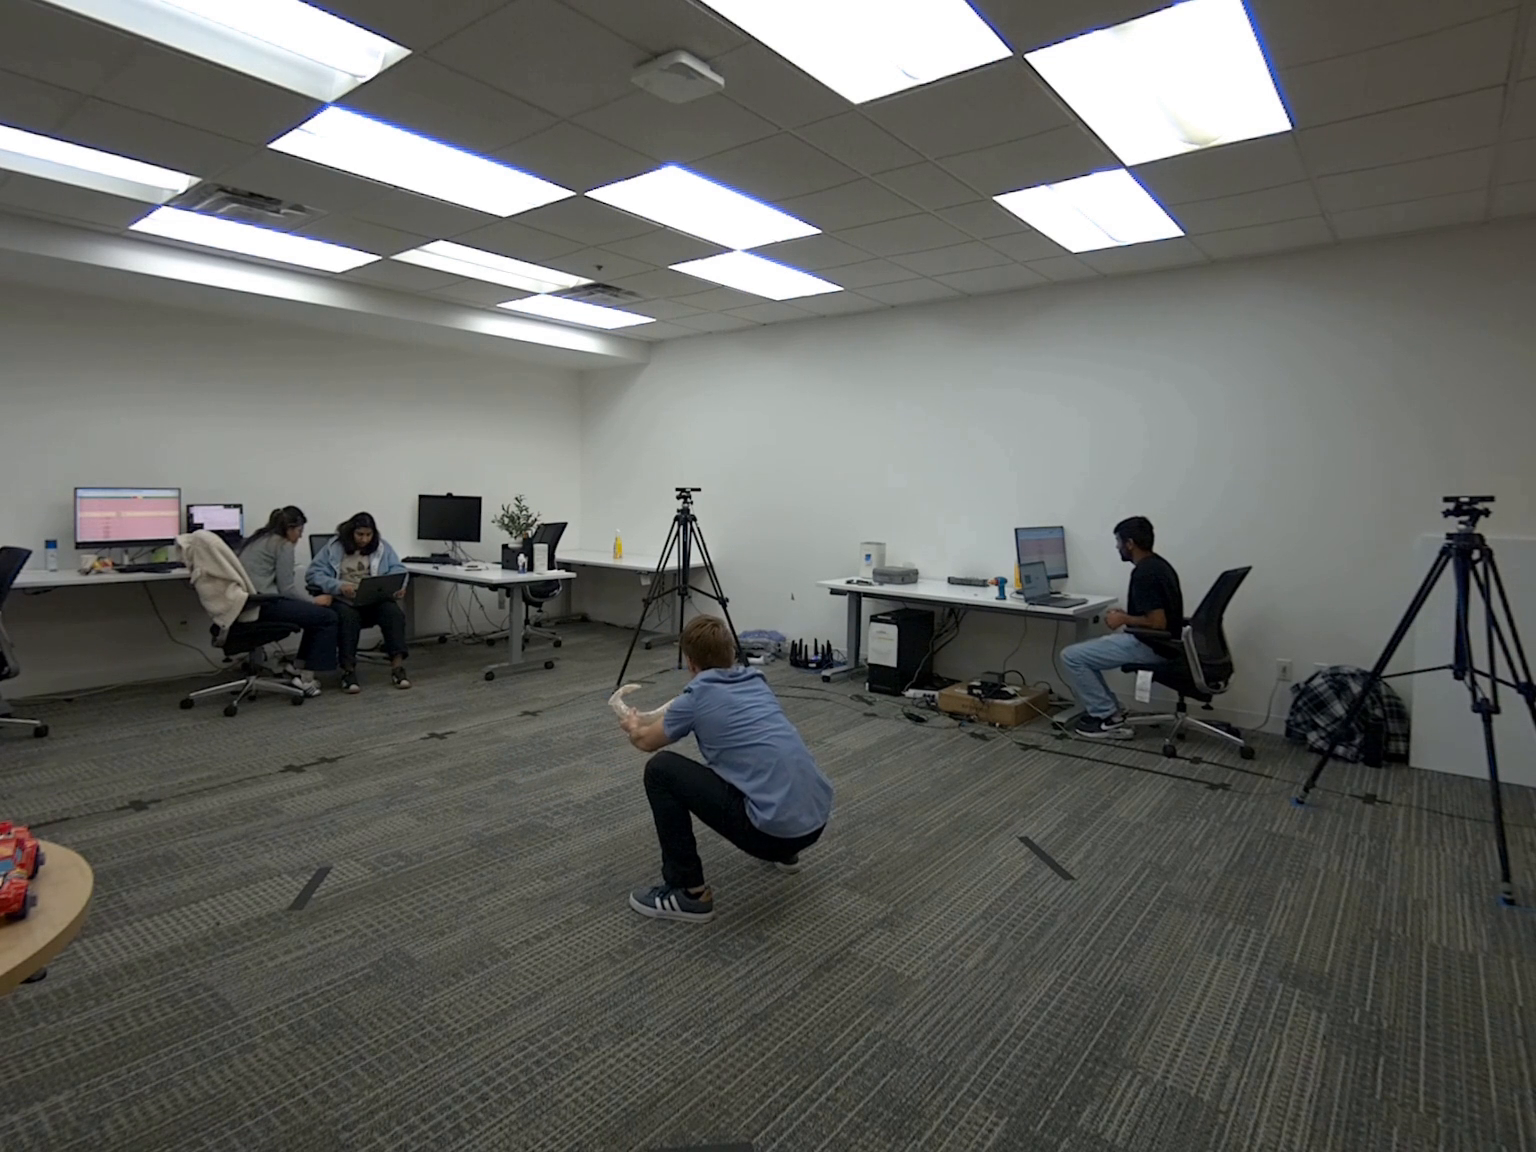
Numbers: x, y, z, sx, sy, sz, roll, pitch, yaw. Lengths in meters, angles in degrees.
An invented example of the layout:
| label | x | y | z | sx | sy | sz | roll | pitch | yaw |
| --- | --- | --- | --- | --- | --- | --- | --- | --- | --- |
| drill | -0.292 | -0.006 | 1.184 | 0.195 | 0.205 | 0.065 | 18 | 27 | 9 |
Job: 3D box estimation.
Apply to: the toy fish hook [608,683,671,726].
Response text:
| label | x | y | z | sx | sy | sz | roll | pitch | yaw |
| --- | --- | --- | --- | --- | --- | --- | --- | --- | --- |
| toy fish hook | -0.457 | 0.497 | 3.537 | 0.493 | 0.048 | 0.233 | -12 | 44 | -45 |
